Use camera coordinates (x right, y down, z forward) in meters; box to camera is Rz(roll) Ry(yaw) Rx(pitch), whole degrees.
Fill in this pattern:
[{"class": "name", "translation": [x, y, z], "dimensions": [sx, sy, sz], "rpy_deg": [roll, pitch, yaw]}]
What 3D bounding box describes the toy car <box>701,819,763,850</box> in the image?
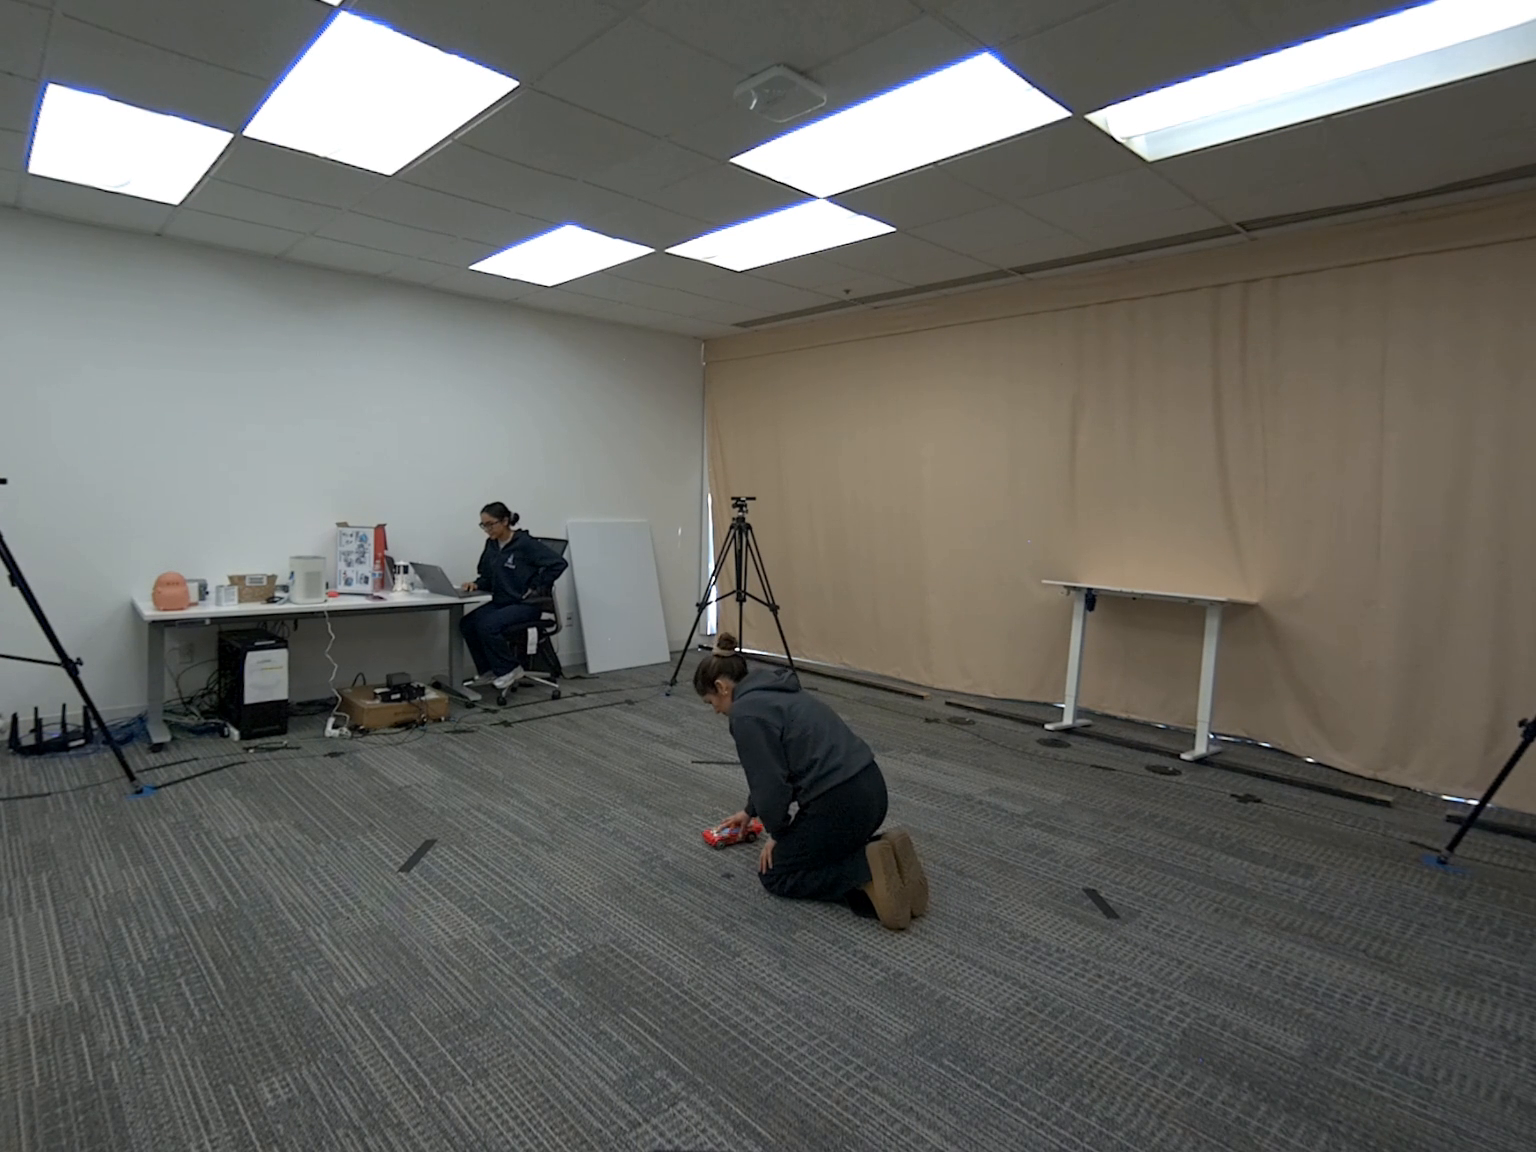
[{"class": "toy car", "translation": [-0.146, 1.044, 3.435], "dimensions": [0.250, 0.082, 0.133], "rpy_deg": [-14, 12, -31]}]
